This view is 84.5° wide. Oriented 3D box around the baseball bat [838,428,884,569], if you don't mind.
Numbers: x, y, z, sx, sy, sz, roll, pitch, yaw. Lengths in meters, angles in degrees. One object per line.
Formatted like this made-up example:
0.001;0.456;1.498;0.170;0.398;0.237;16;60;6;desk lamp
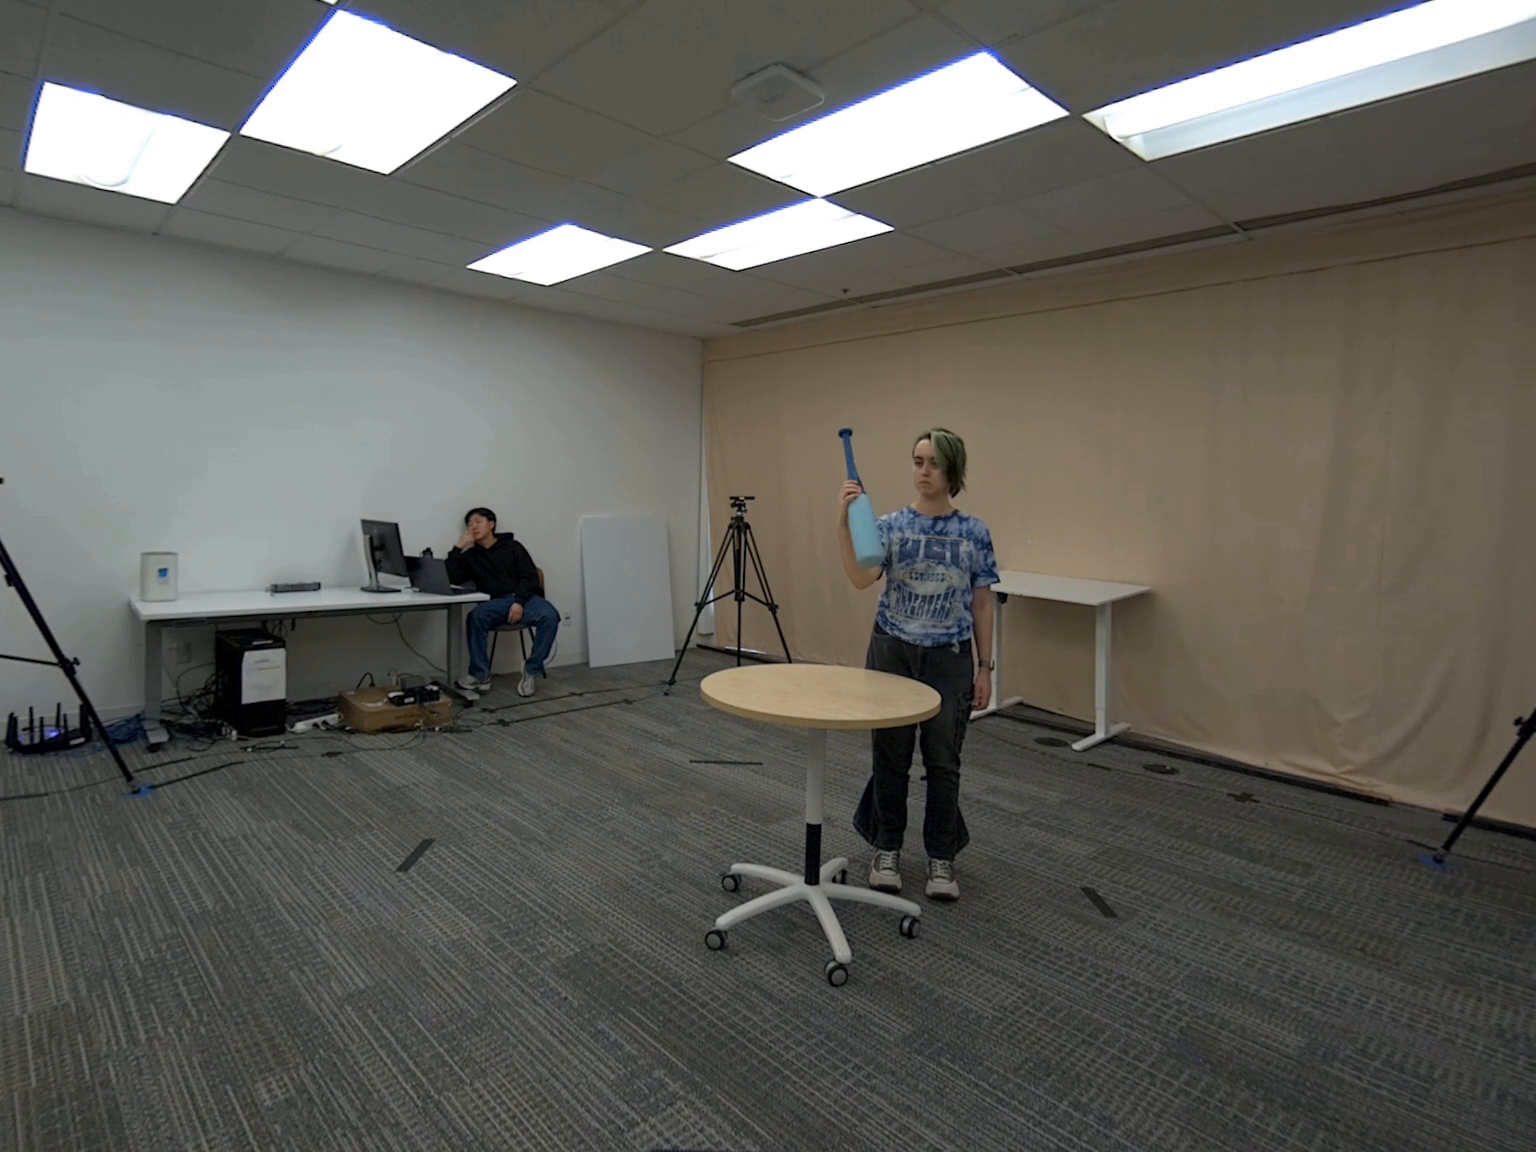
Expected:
0.297;-0.275;2.824;0.089;0.554;0.087;-2;-30;-3;baseball bat
